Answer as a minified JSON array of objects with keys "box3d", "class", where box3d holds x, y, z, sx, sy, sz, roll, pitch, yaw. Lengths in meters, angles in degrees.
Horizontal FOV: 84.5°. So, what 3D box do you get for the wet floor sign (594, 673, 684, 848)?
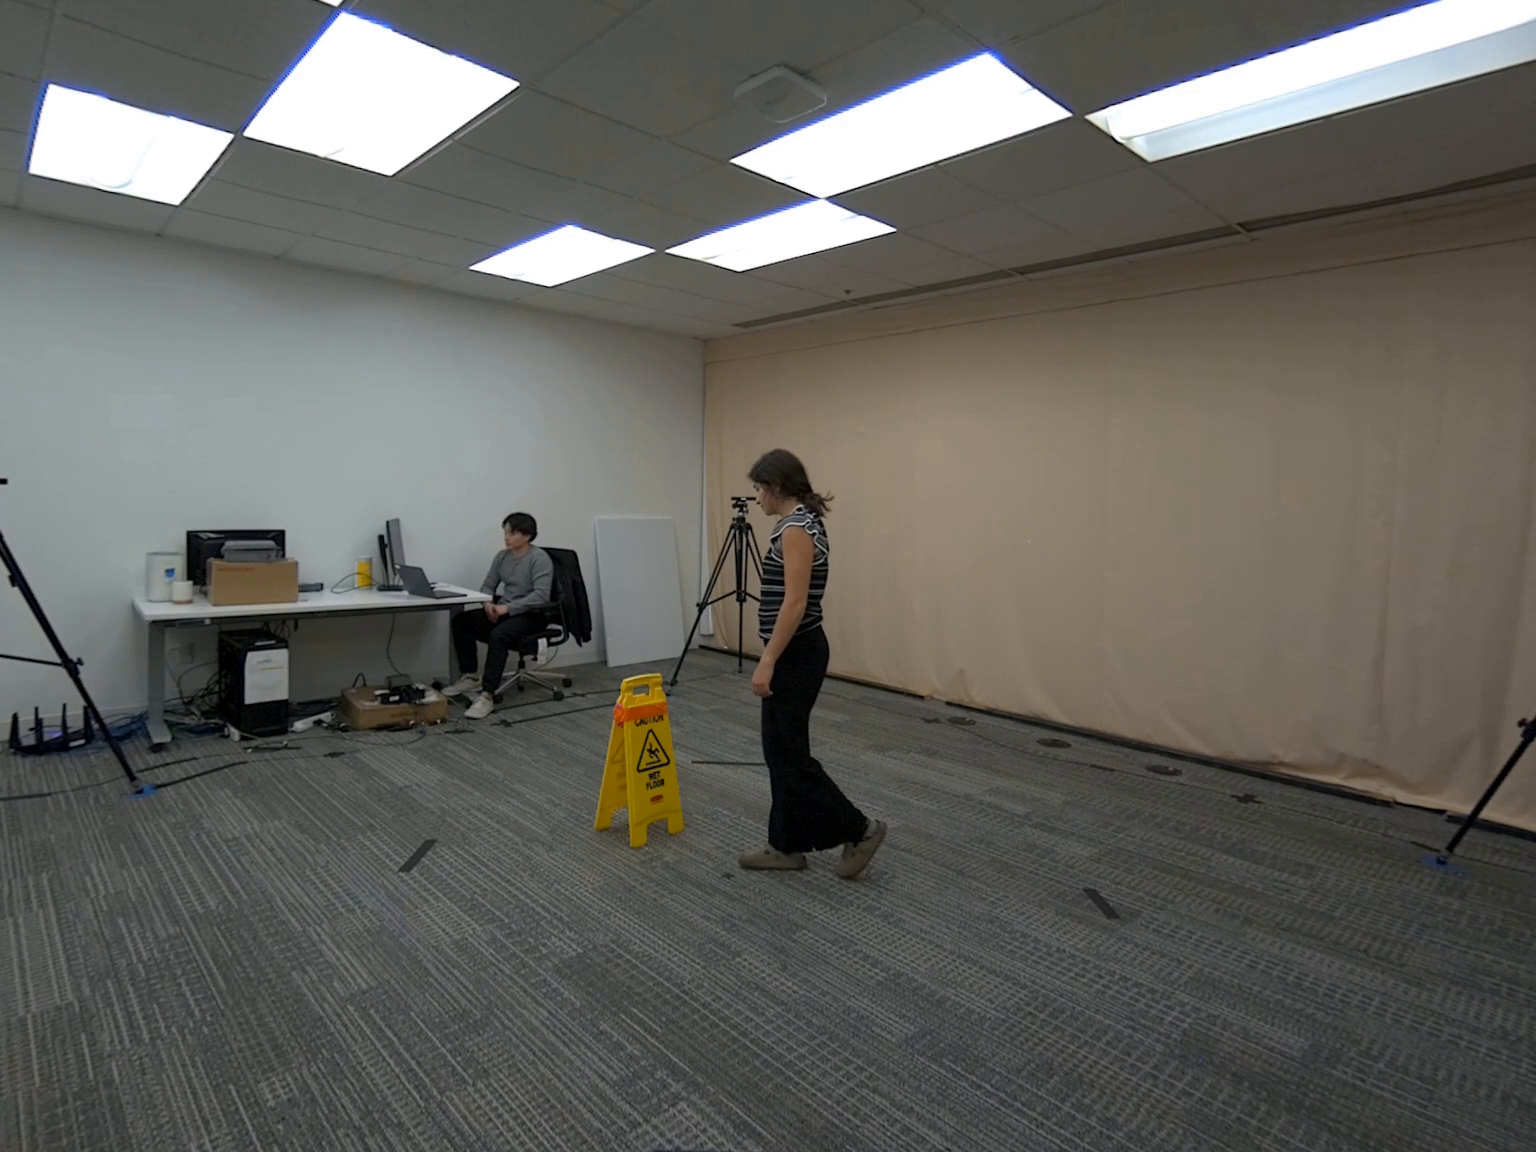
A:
[{"box3d":[-0.540,0.739,3.495,0.297,0.645,0.276,3,3,43],"class":"wet floor sign"}]
